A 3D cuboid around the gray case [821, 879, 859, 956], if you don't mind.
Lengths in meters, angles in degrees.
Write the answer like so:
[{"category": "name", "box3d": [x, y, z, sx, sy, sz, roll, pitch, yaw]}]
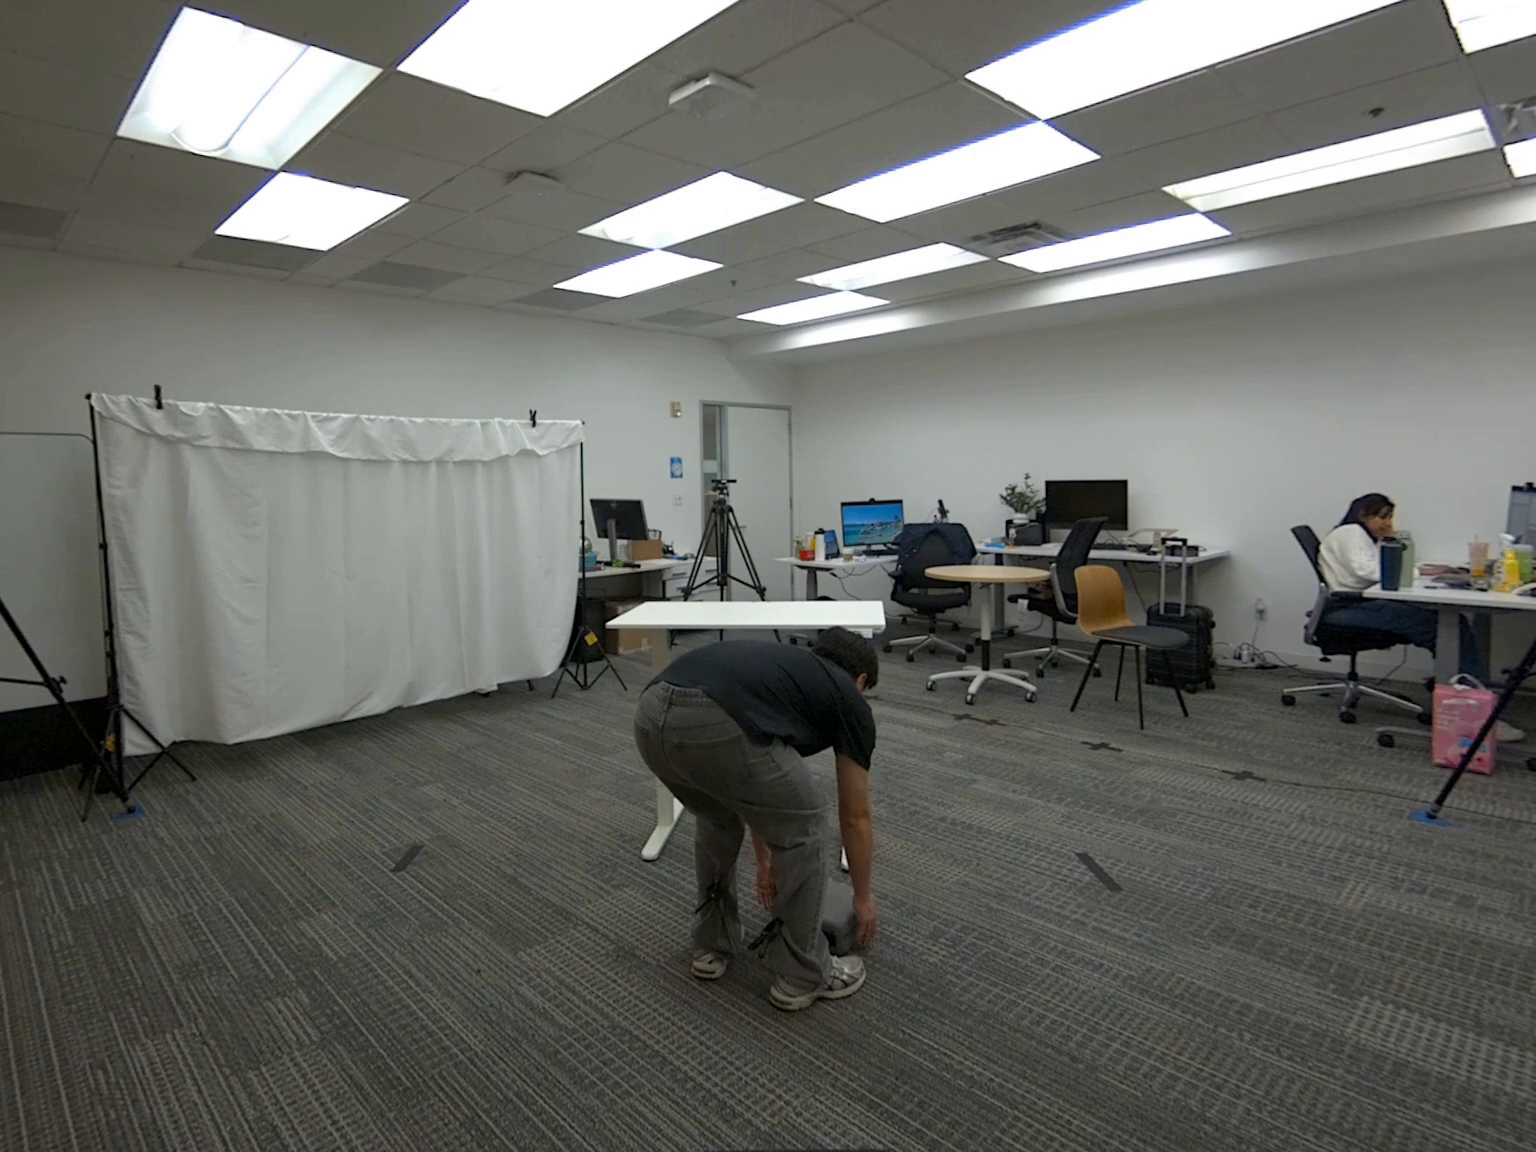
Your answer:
[{"category": "gray case", "box3d": [0.183, 1.043, 2.653, 0.271, 0.102, 0.280, 4, 7, 34]}]
